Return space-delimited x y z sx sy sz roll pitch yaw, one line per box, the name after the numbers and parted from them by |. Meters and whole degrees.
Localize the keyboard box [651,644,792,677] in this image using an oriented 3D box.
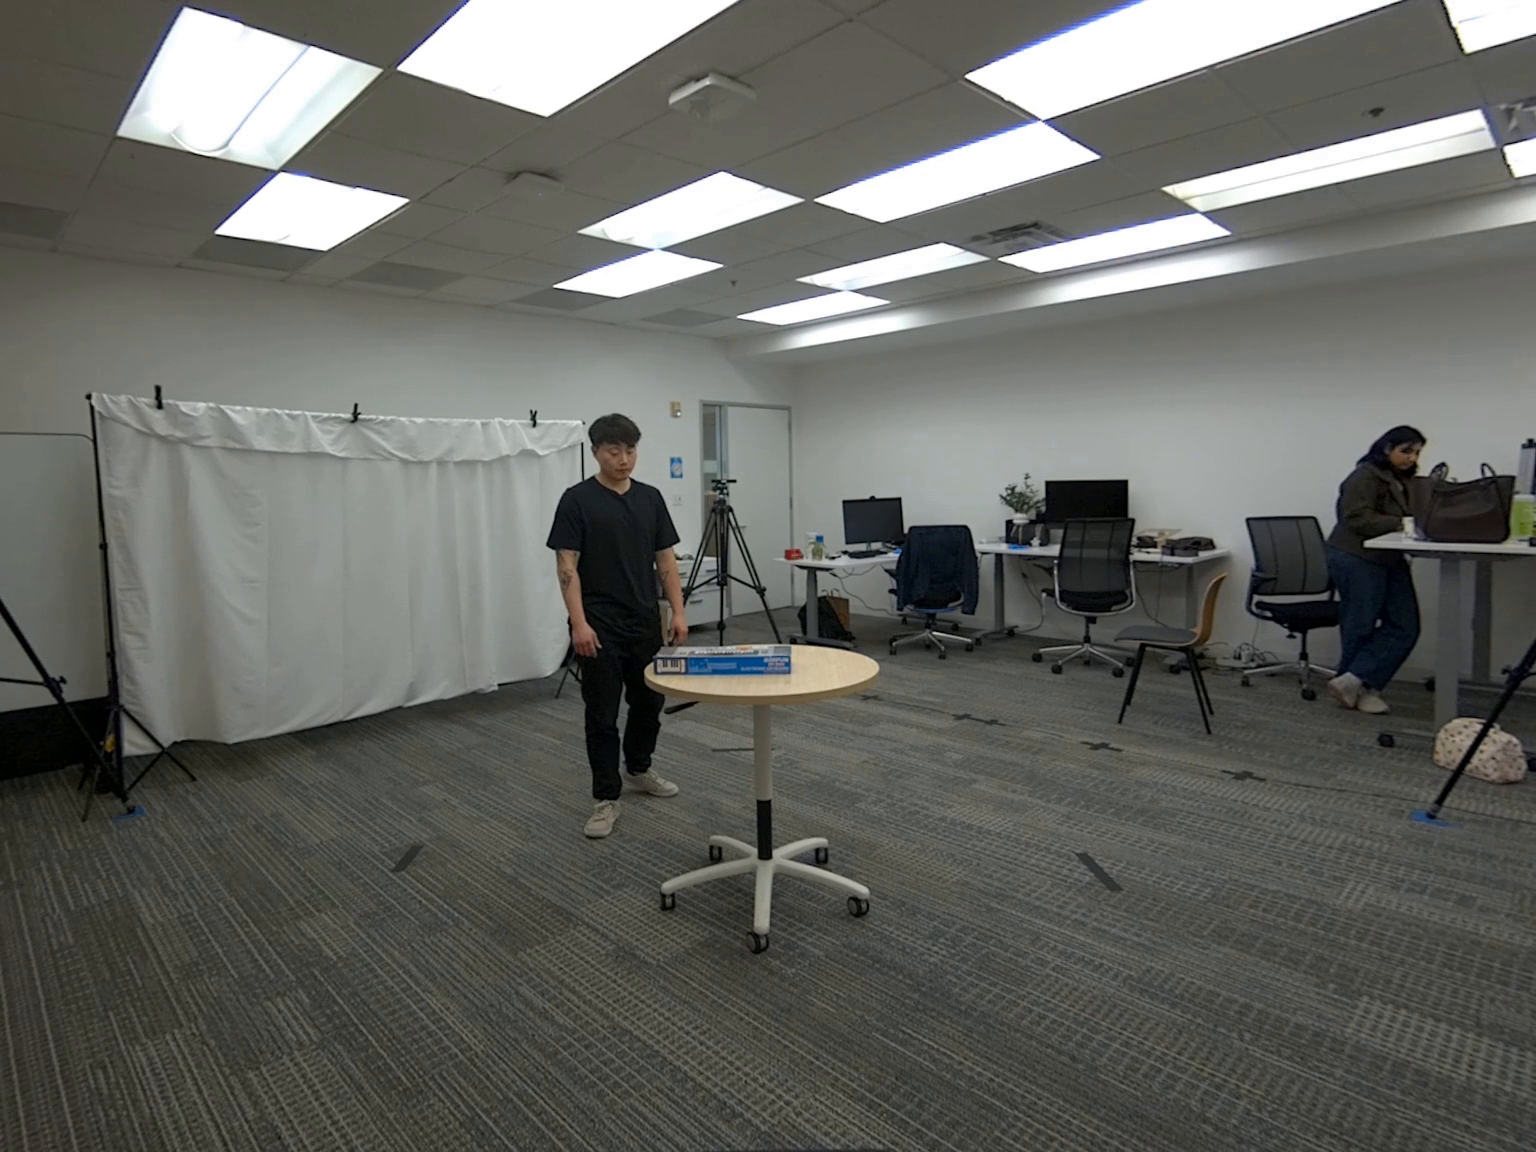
-0.143 0.271 2.789 0.439 0.059 0.176 -1 7 5 | keyboard box
